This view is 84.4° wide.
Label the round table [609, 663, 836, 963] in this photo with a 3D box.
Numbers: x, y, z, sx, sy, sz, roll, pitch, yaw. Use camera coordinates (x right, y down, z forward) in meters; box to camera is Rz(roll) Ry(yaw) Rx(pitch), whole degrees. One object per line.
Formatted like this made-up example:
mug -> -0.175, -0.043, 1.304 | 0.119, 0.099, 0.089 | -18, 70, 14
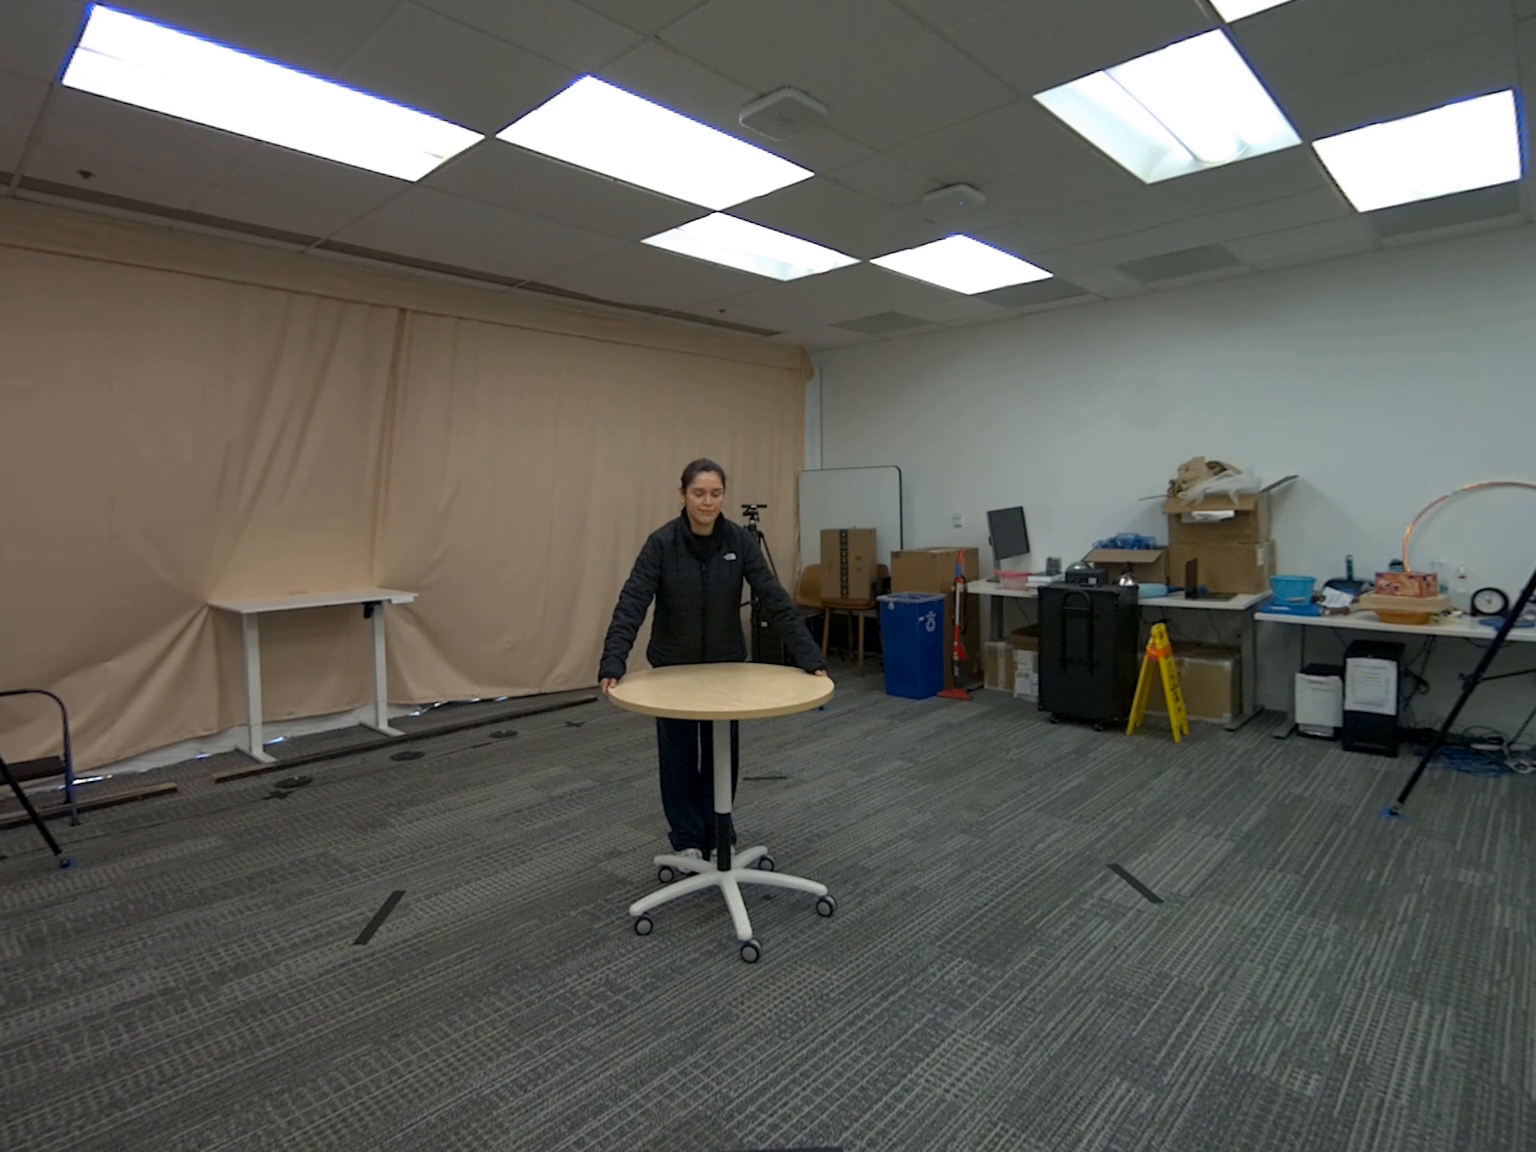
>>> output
round table -> -0.150, 0.755, 2.899 | 0.784, 0.785, 0.788 | -1, 4, -2
